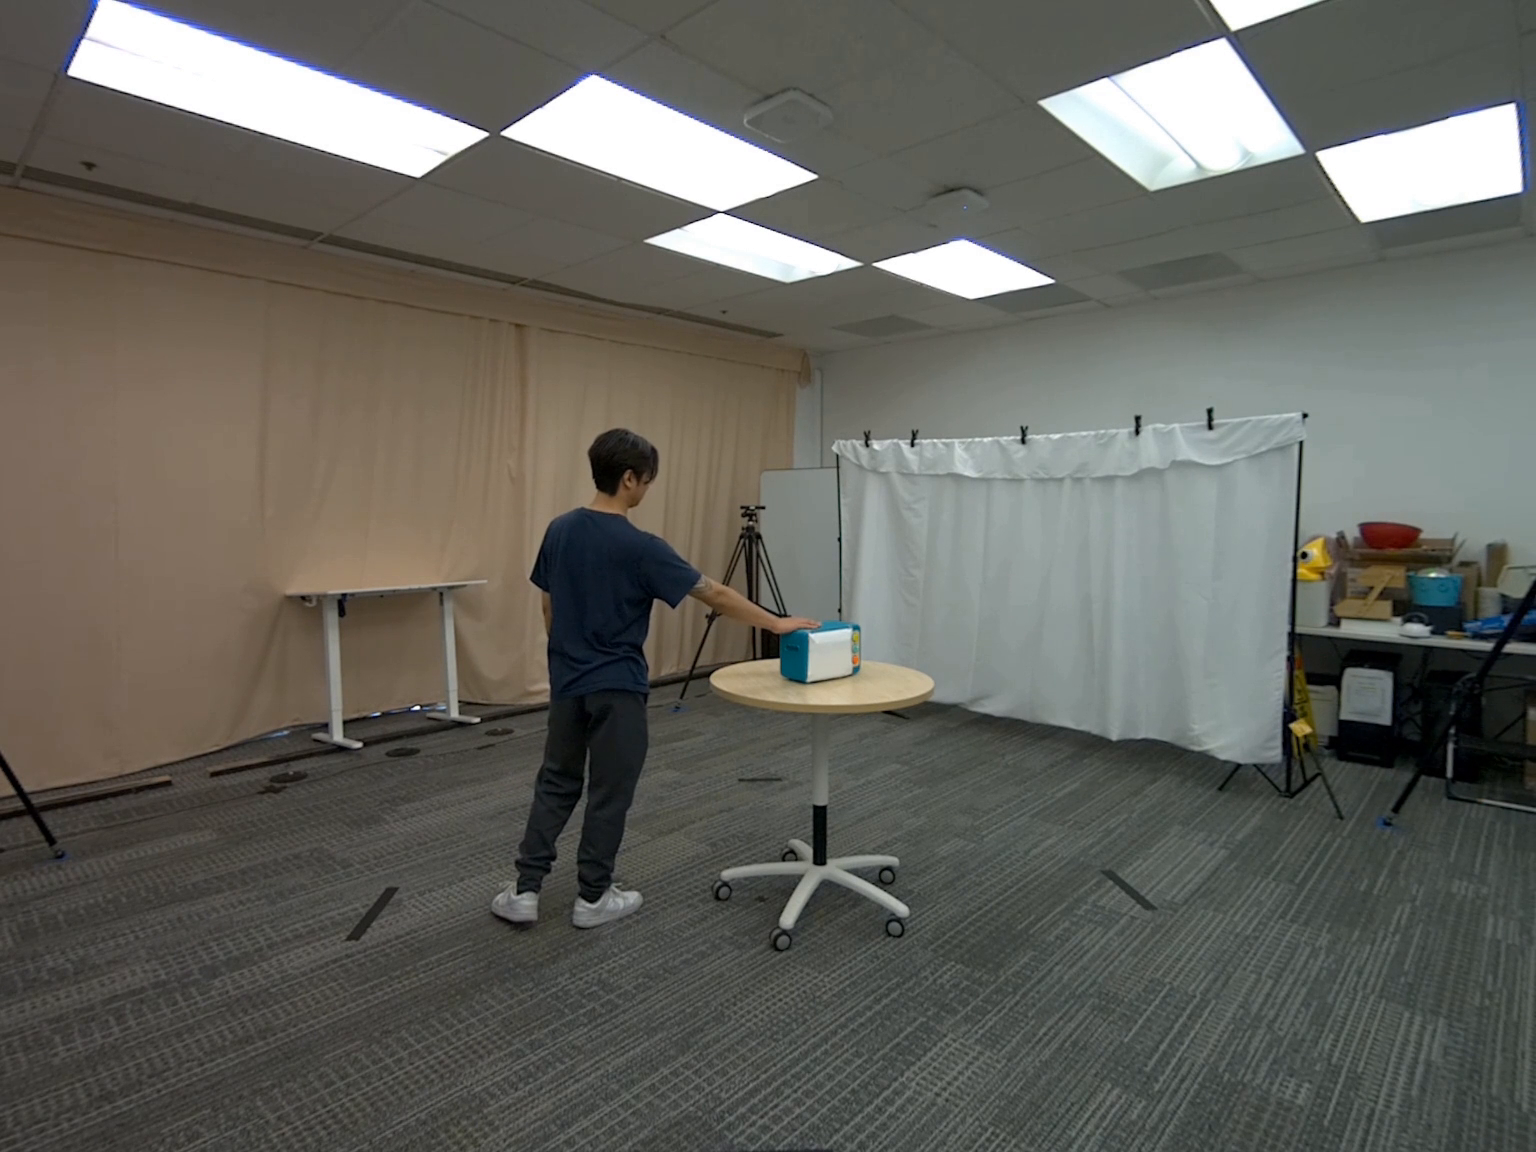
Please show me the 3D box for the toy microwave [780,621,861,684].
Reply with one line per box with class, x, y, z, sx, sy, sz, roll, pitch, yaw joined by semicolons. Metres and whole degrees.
toy microwave;0.197;0.263;2.916;0.278;0.183;0.157;-4;6;-38
